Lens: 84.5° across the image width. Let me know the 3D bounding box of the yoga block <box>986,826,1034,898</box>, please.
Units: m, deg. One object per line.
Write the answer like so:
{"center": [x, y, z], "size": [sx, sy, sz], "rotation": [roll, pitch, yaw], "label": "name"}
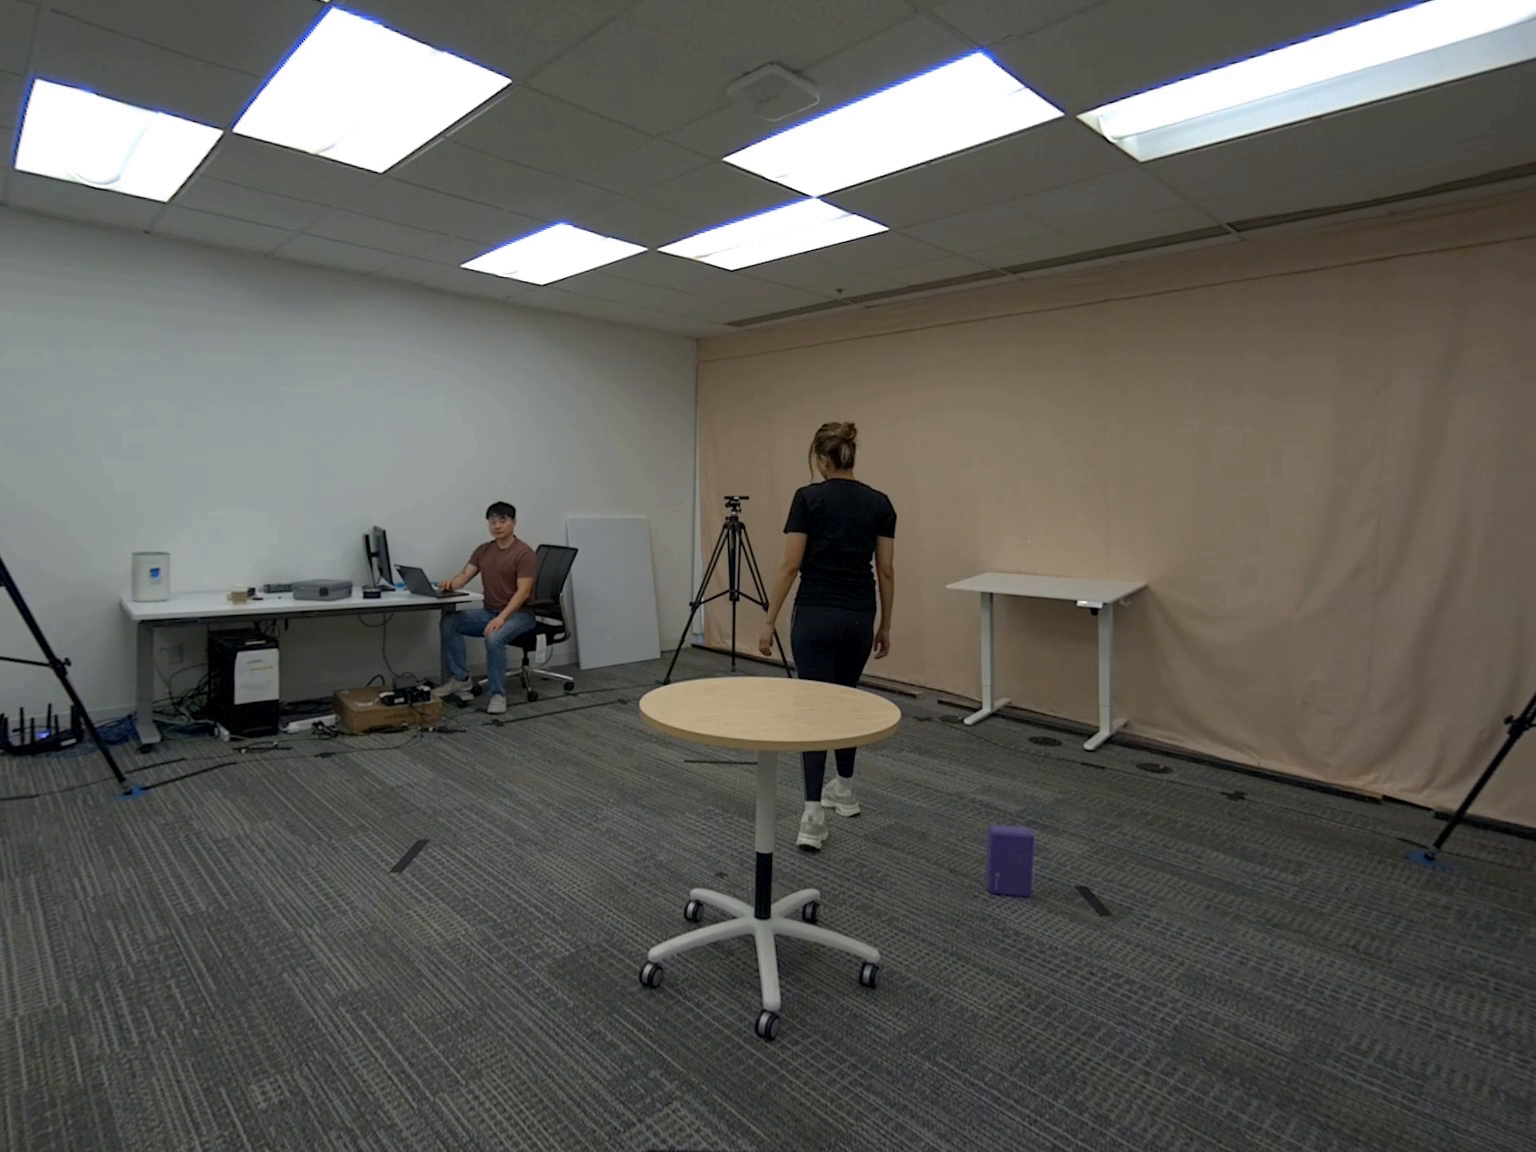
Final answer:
{"center": [0.861, 1.020, 3.025], "size": [0.150, 0.229, 0.076], "rotation": [3, 1, 6], "label": "yoga block"}
